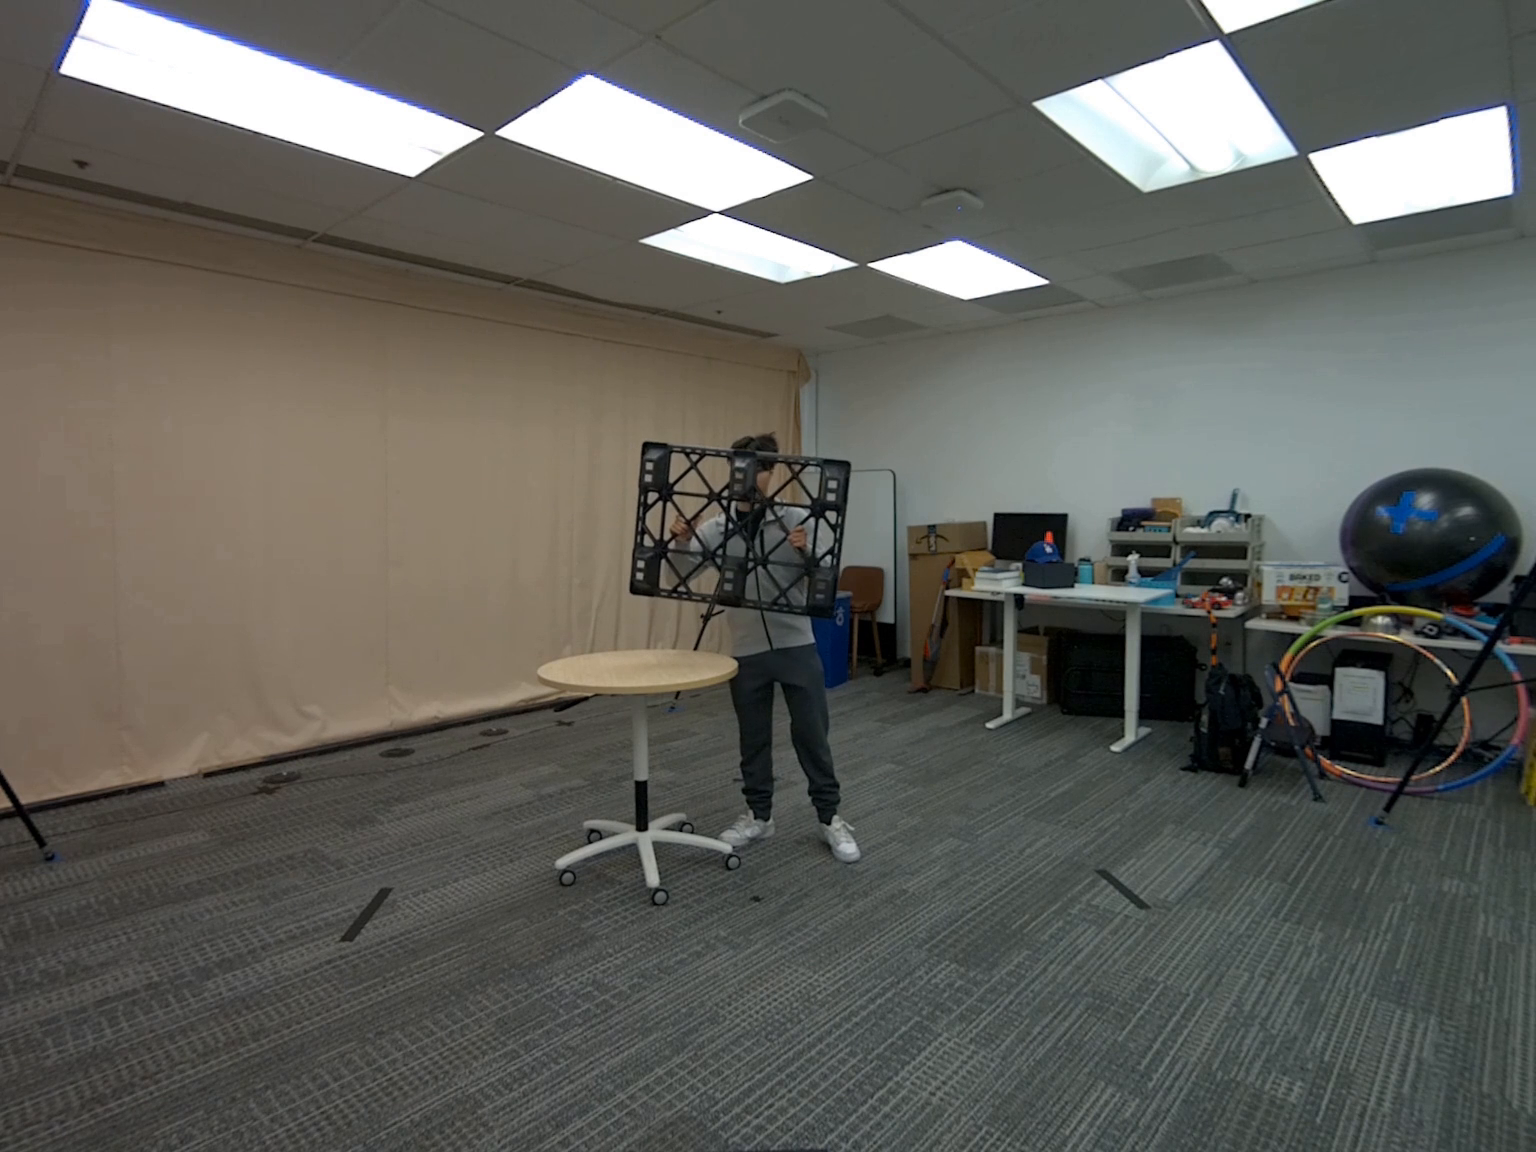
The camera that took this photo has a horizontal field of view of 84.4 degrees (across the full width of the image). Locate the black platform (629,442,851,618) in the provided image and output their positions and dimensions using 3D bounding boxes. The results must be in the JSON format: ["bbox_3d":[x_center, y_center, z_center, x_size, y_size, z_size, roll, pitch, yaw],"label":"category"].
[{"bbox_3d":[-0.120,-0.168,3.169,0.814,0.604,0.142,6,4,9],"label":"black platform"}]
